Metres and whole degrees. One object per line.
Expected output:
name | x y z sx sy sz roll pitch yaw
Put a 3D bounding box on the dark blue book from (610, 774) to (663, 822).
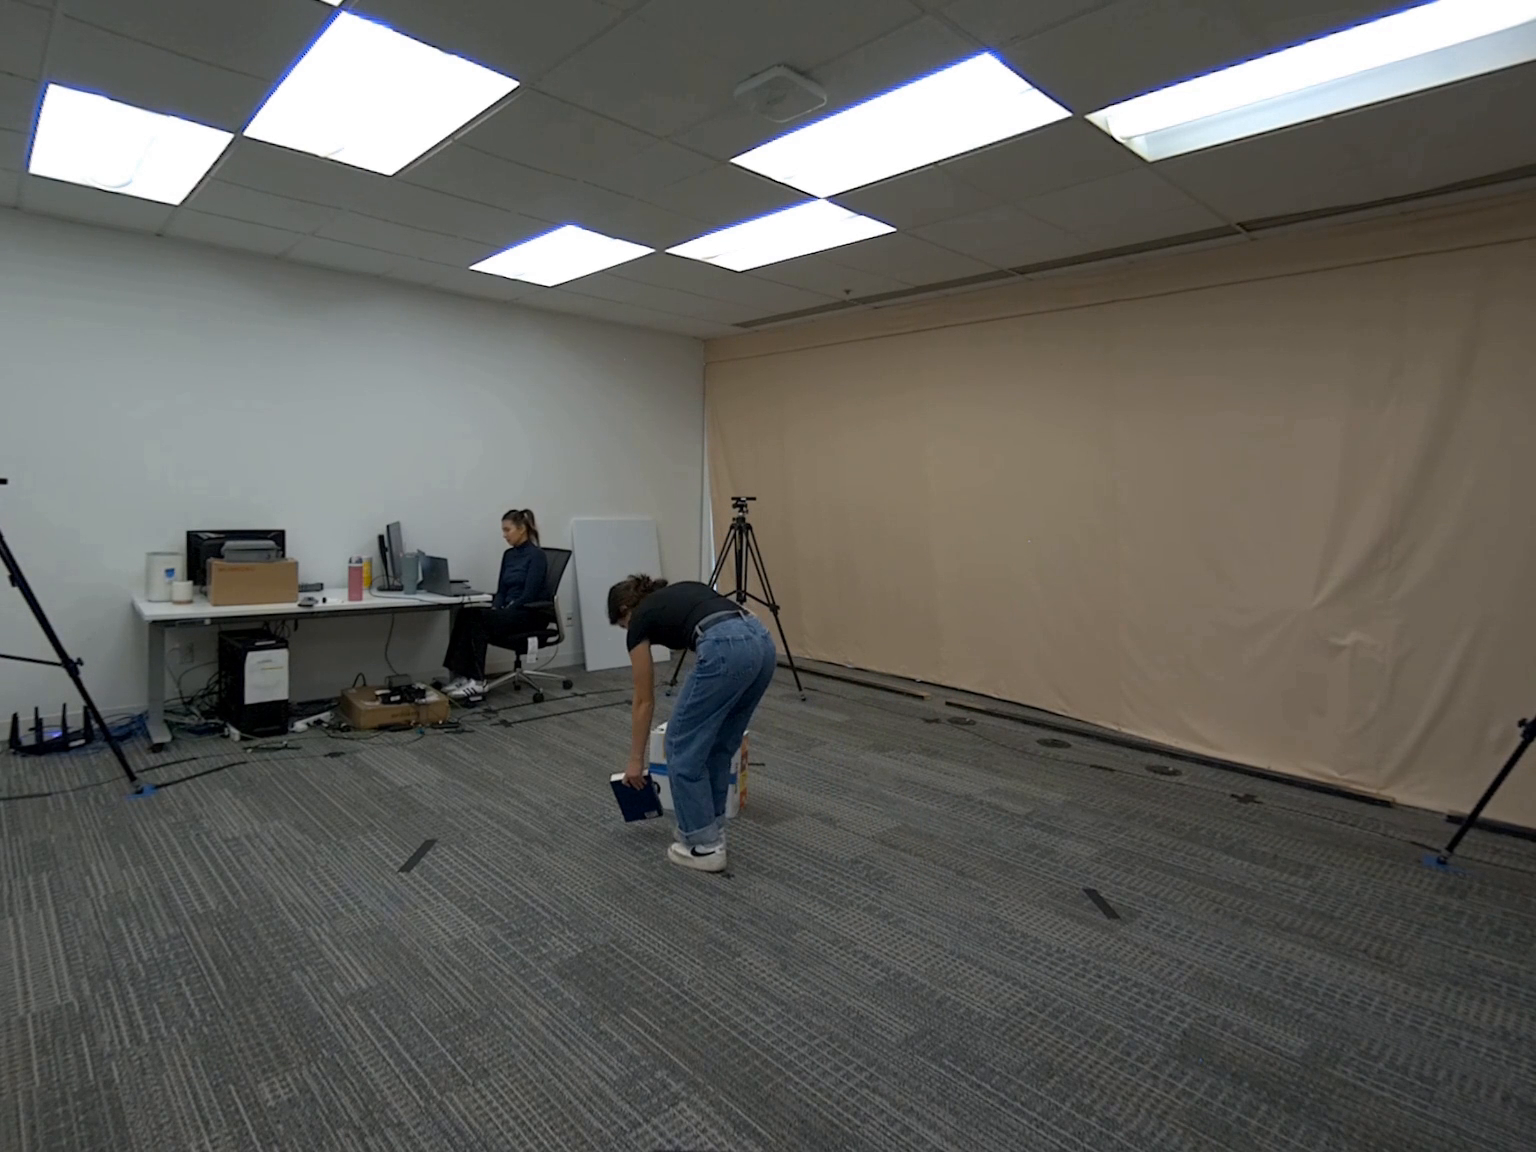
dark blue book | -0.545 0.892 3.448 0.164 0.239 0.046 -9 29 5
